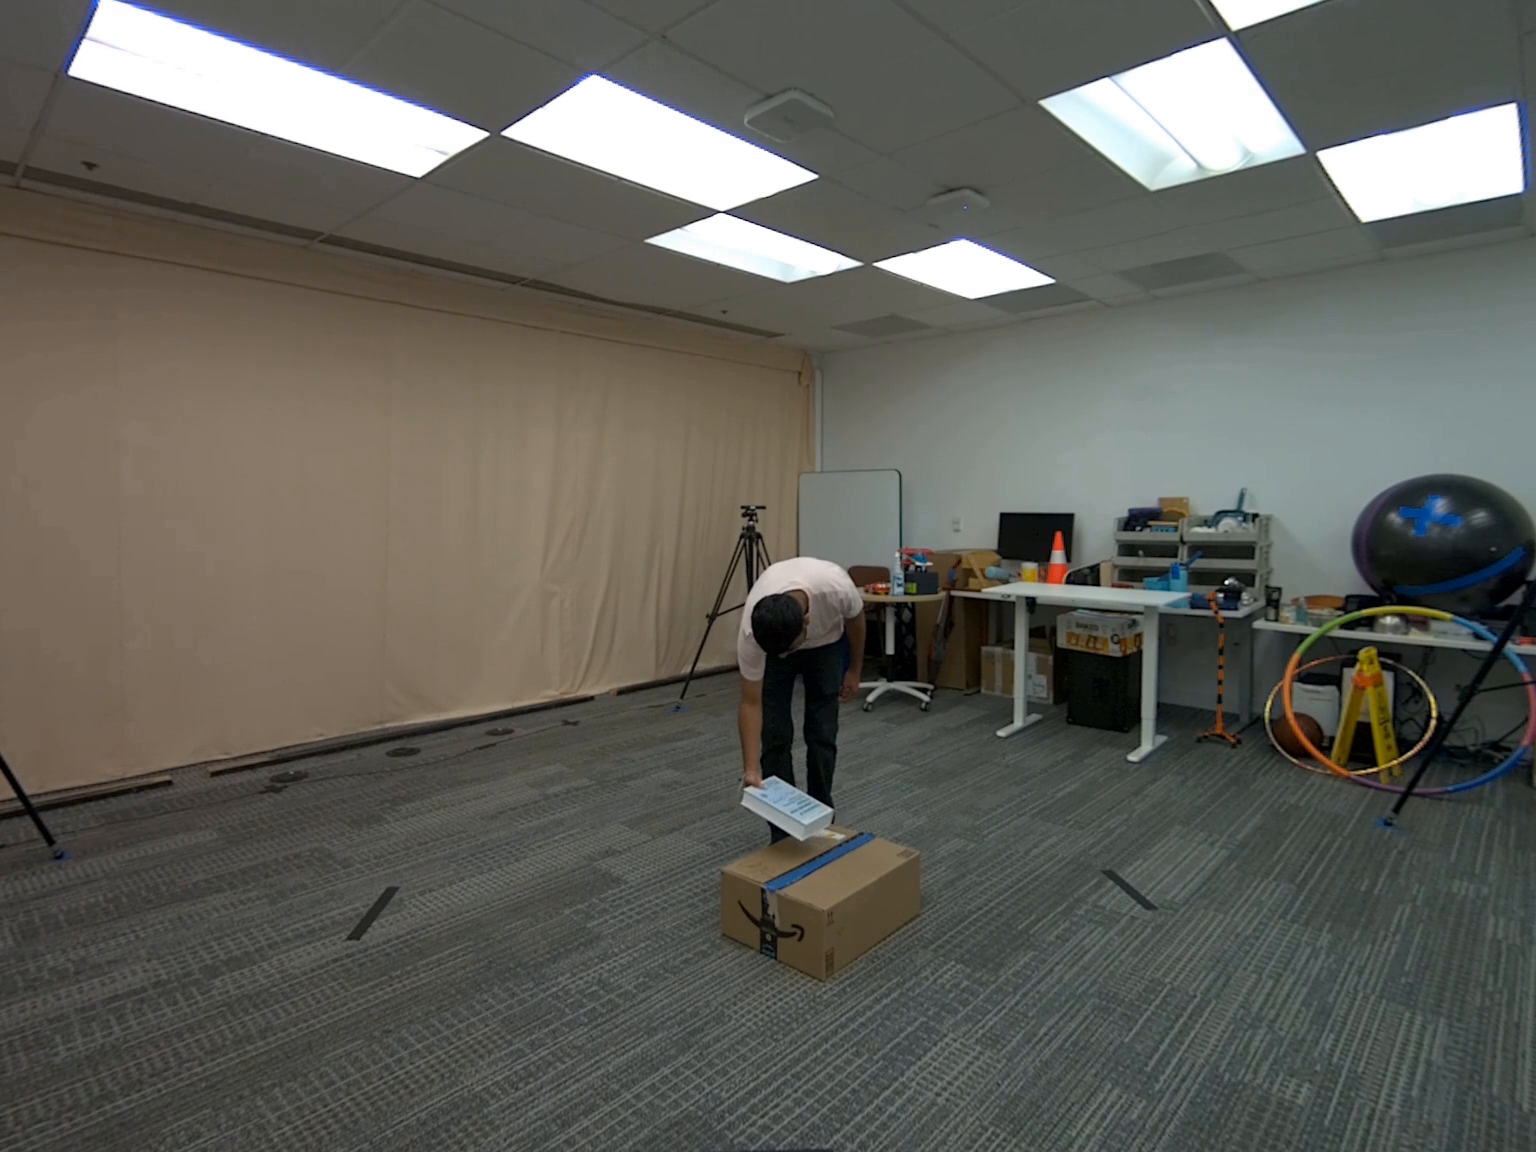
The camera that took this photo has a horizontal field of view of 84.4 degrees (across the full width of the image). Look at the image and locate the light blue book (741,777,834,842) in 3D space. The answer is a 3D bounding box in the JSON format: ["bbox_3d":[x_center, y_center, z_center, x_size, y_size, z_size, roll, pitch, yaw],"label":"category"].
[{"bbox_3d":[0.075,0.790,2.903,0.270,0.059,0.185,21,15,38],"label":"light blue book"}]
